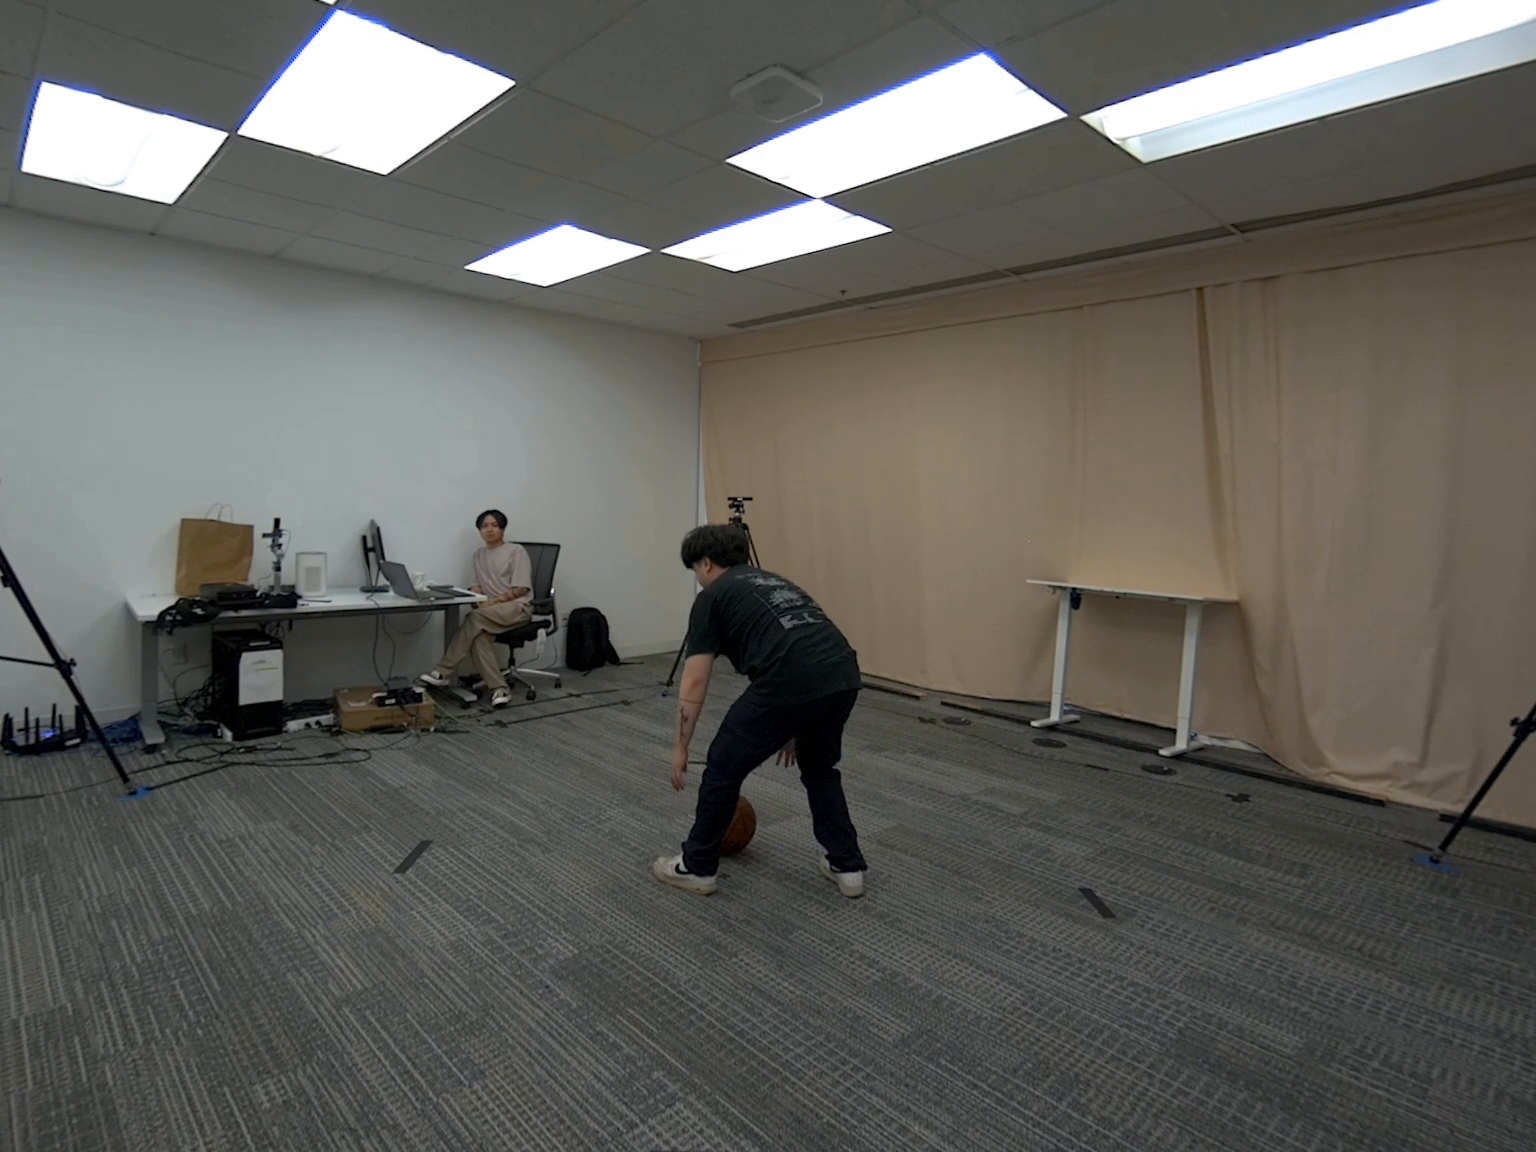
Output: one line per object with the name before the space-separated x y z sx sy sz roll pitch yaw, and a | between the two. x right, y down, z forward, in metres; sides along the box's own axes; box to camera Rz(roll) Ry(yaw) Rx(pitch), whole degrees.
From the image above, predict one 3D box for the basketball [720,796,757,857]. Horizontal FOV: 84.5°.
basketball | -0.174 0.970 3.317 0.236 0.235 0.237 1 4 -1
